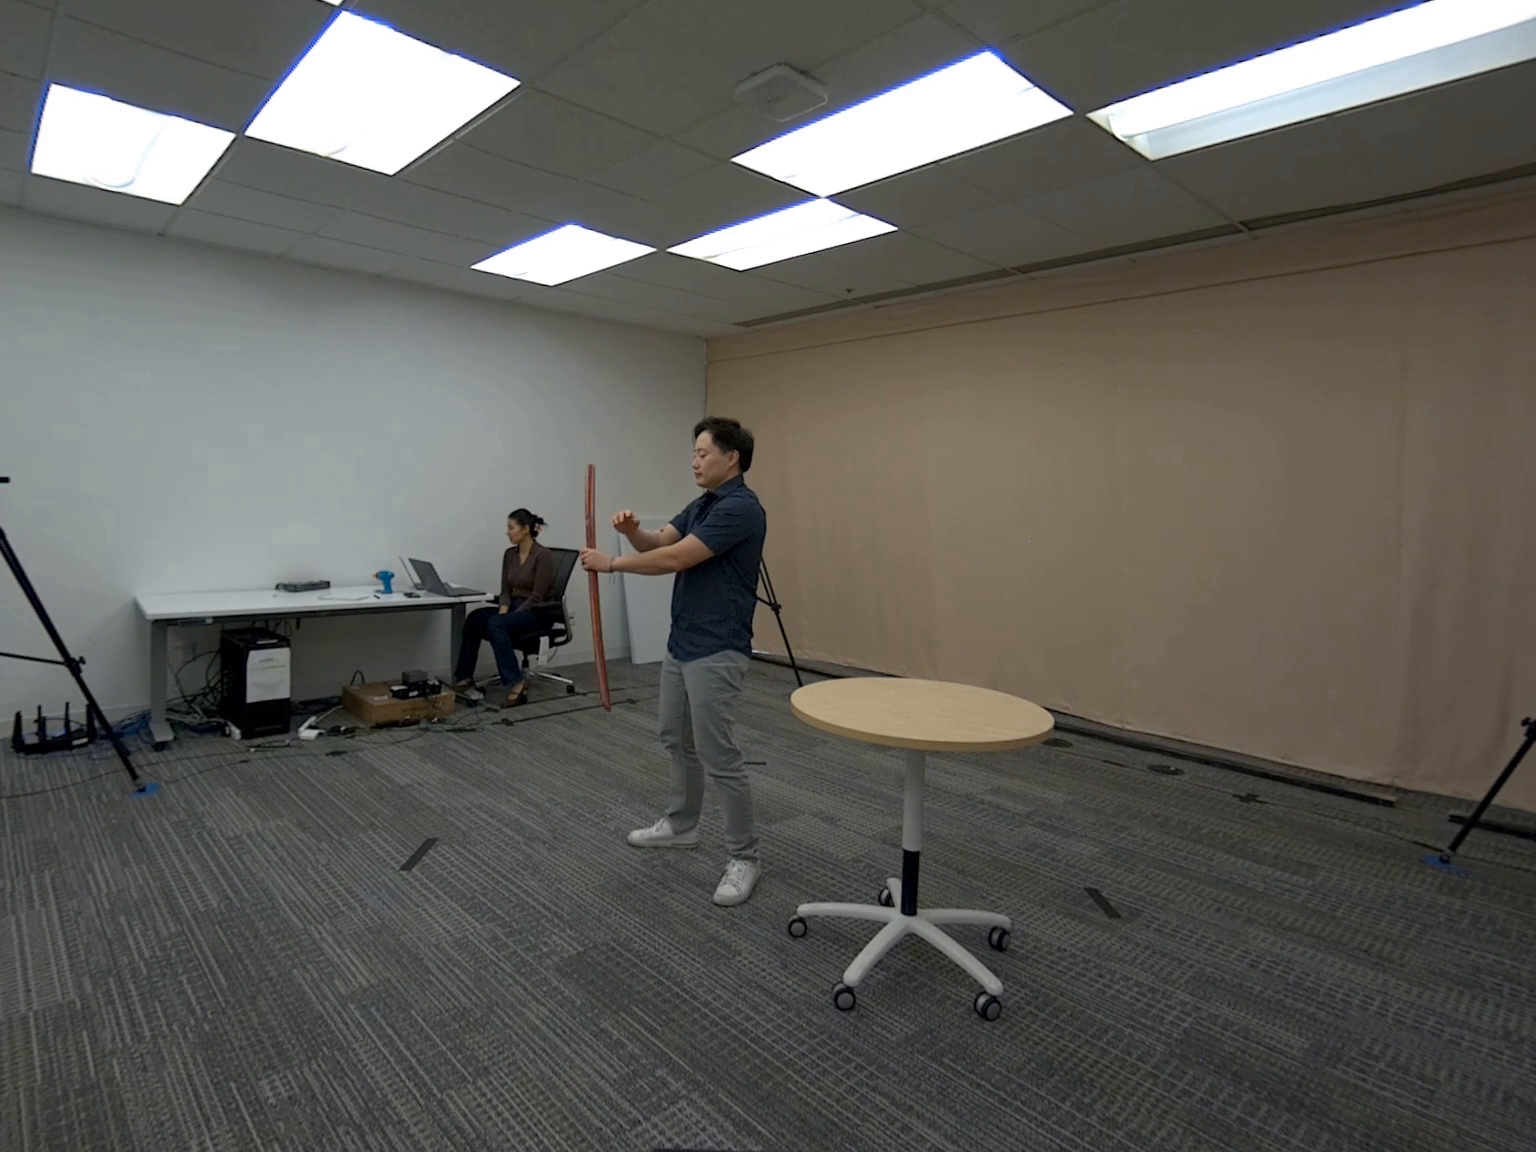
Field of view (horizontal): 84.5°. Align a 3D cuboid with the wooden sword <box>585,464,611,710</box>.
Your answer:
[{"bbox_3d":[-0.616,0.006,2.934,0.052,1.049,0.023,-24,-36,20],"label":"wooden sword"}]
